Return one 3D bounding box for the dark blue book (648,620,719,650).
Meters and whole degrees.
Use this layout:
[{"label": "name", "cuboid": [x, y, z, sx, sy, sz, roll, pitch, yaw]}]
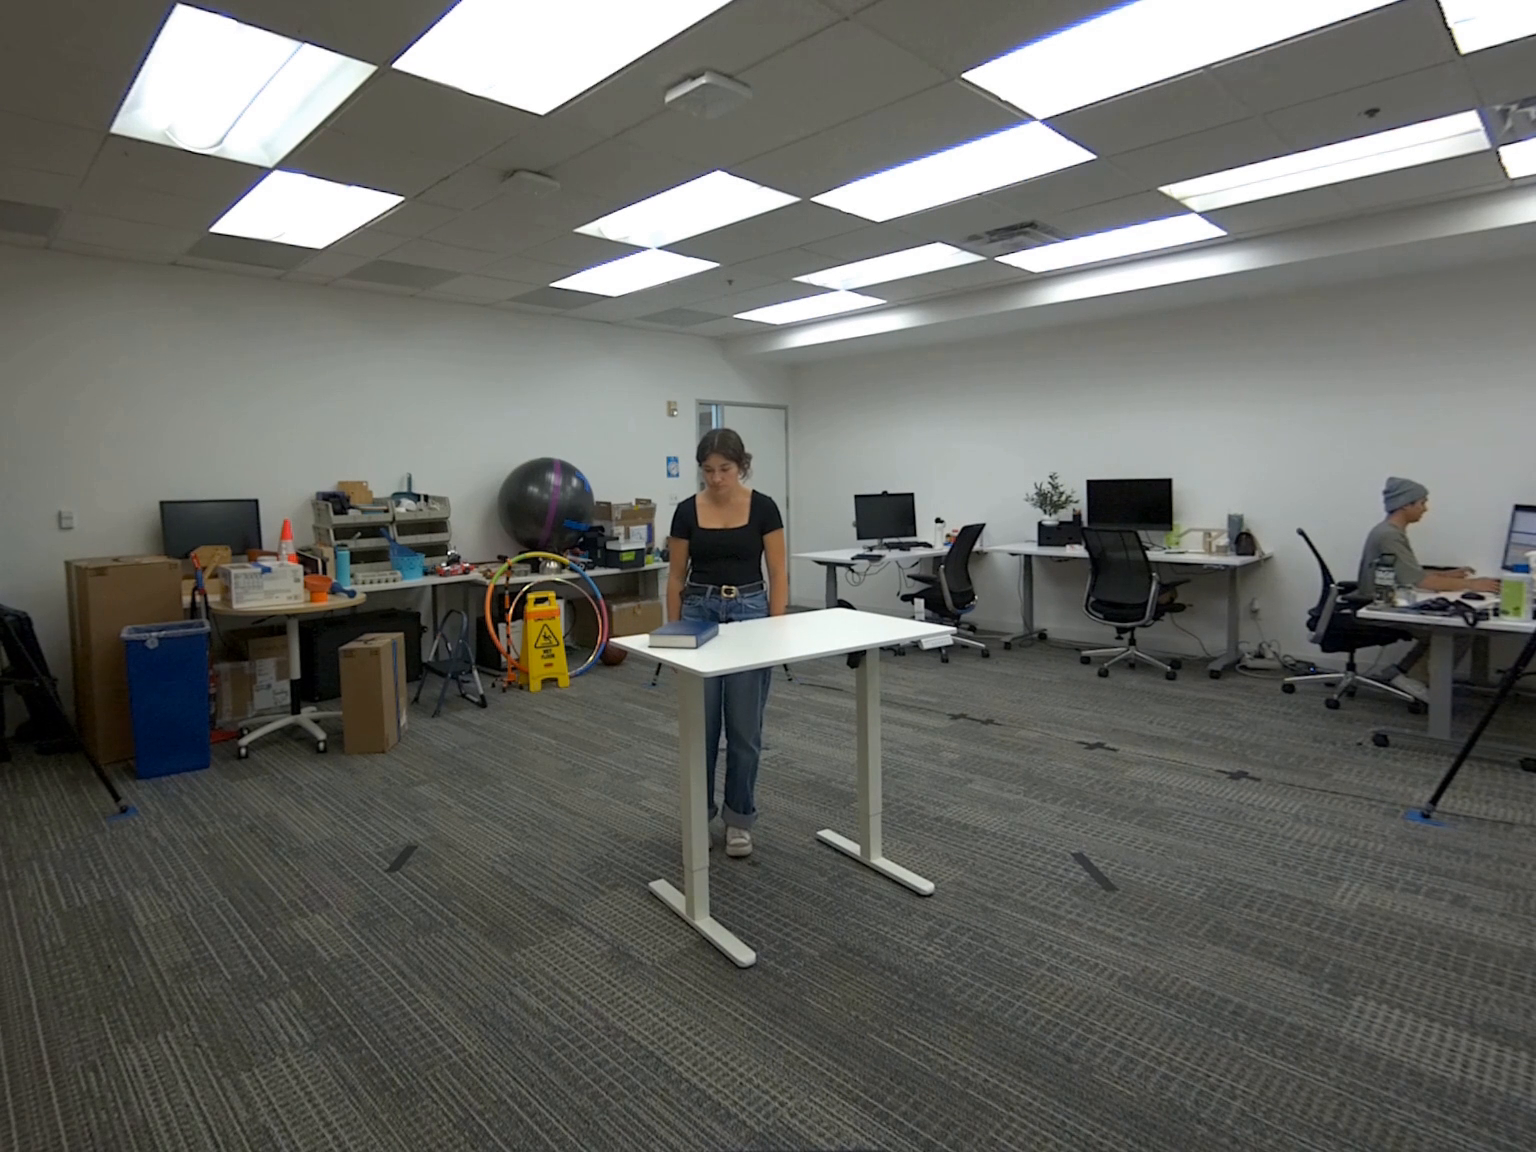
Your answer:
[{"label": "dark blue book", "cuboid": [-0.260, 0.192, 2.749, 0.166, 0.045, 0.243, 0, 7, 14]}]
